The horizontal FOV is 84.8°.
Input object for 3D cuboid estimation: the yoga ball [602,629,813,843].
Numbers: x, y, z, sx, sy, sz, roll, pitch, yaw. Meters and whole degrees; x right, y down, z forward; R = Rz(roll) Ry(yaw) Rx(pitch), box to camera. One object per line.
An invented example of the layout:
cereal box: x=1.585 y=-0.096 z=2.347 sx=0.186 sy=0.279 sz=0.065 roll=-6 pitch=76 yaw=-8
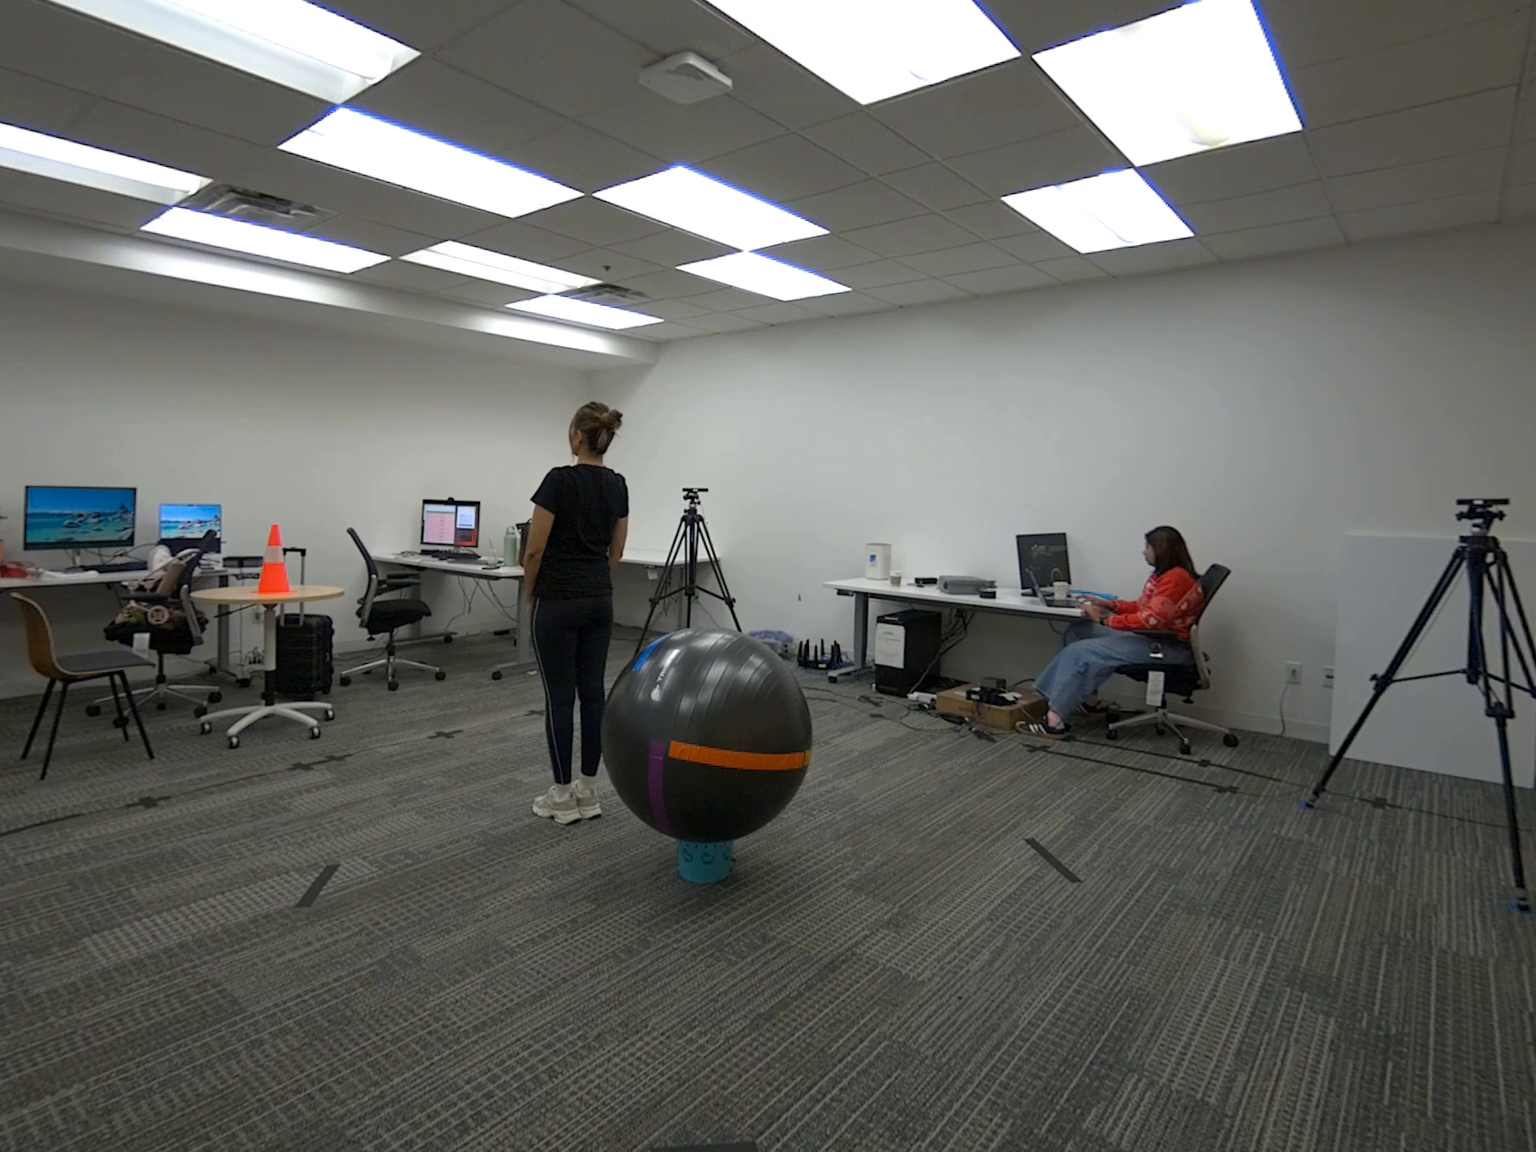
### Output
yoga ball: x=-0.234 y=0.560 z=3.064 sx=0.757 sy=0.755 sz=0.762 roll=1 pitch=4 yaw=-2
